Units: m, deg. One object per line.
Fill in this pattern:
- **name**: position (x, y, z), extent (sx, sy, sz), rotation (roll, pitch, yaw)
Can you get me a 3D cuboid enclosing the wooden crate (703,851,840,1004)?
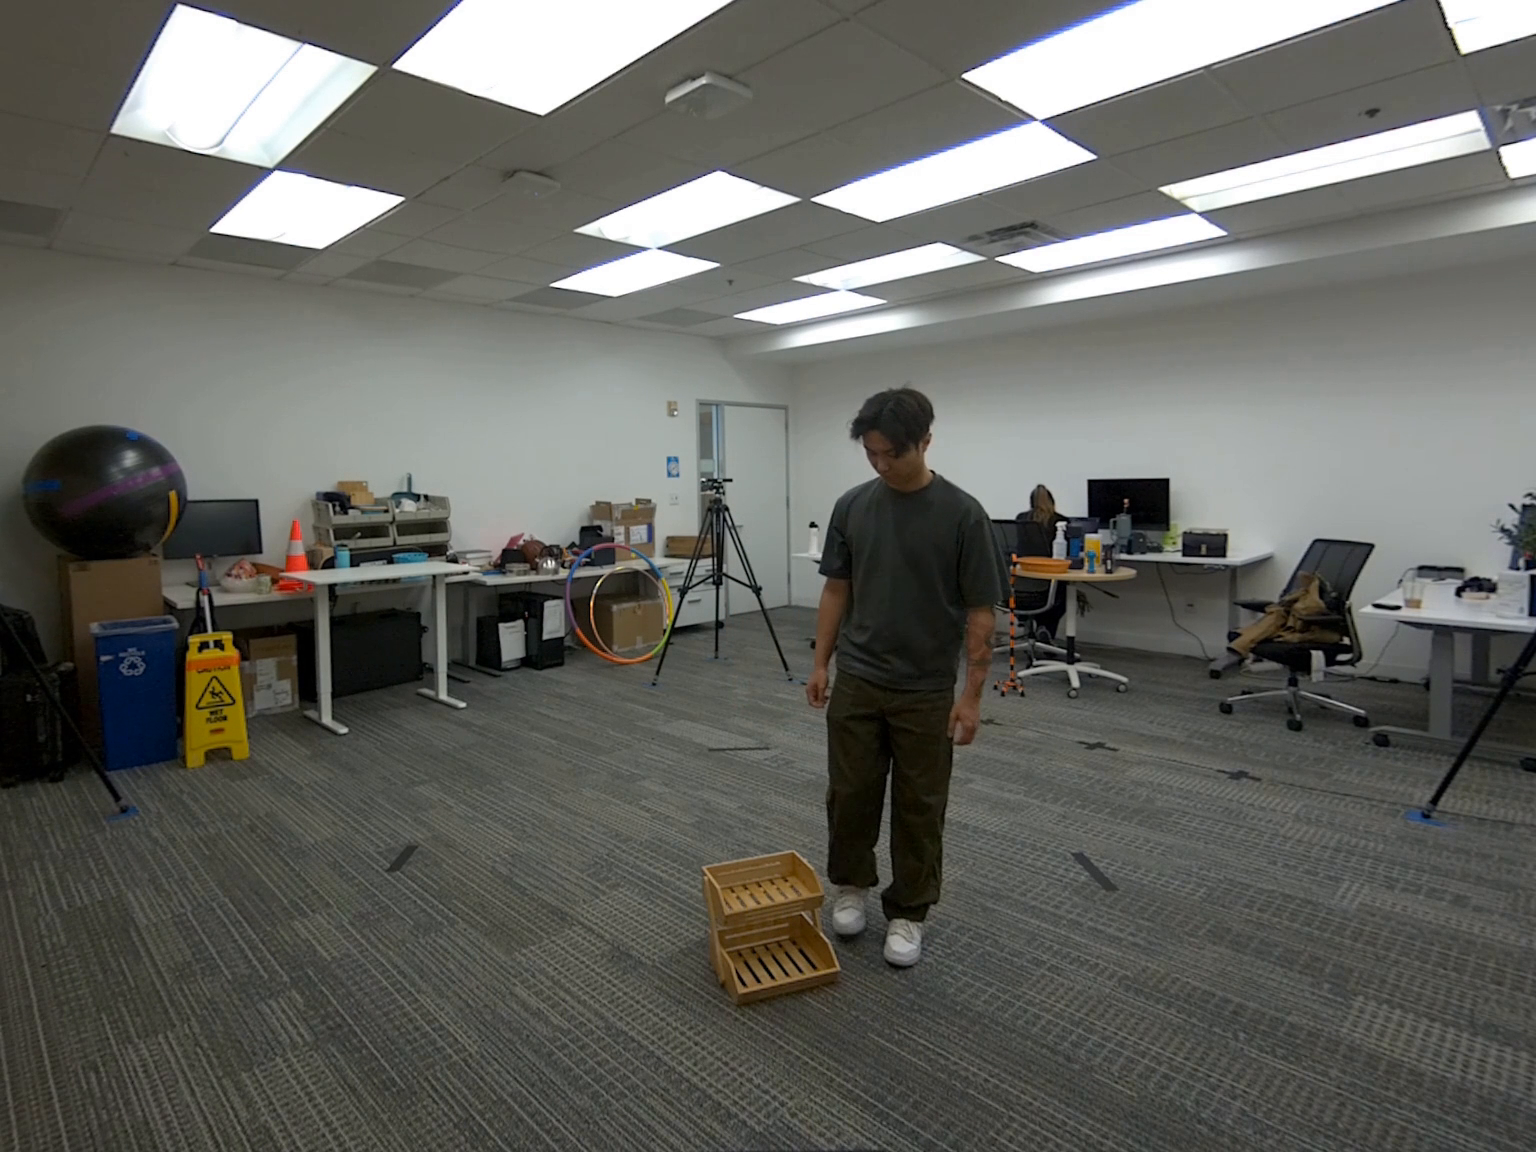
- **wooden crate**: position (0.012, 0.990, 2.428), extent (0.318, 0.272, 0.309), rotation (-3, 6, -22)
